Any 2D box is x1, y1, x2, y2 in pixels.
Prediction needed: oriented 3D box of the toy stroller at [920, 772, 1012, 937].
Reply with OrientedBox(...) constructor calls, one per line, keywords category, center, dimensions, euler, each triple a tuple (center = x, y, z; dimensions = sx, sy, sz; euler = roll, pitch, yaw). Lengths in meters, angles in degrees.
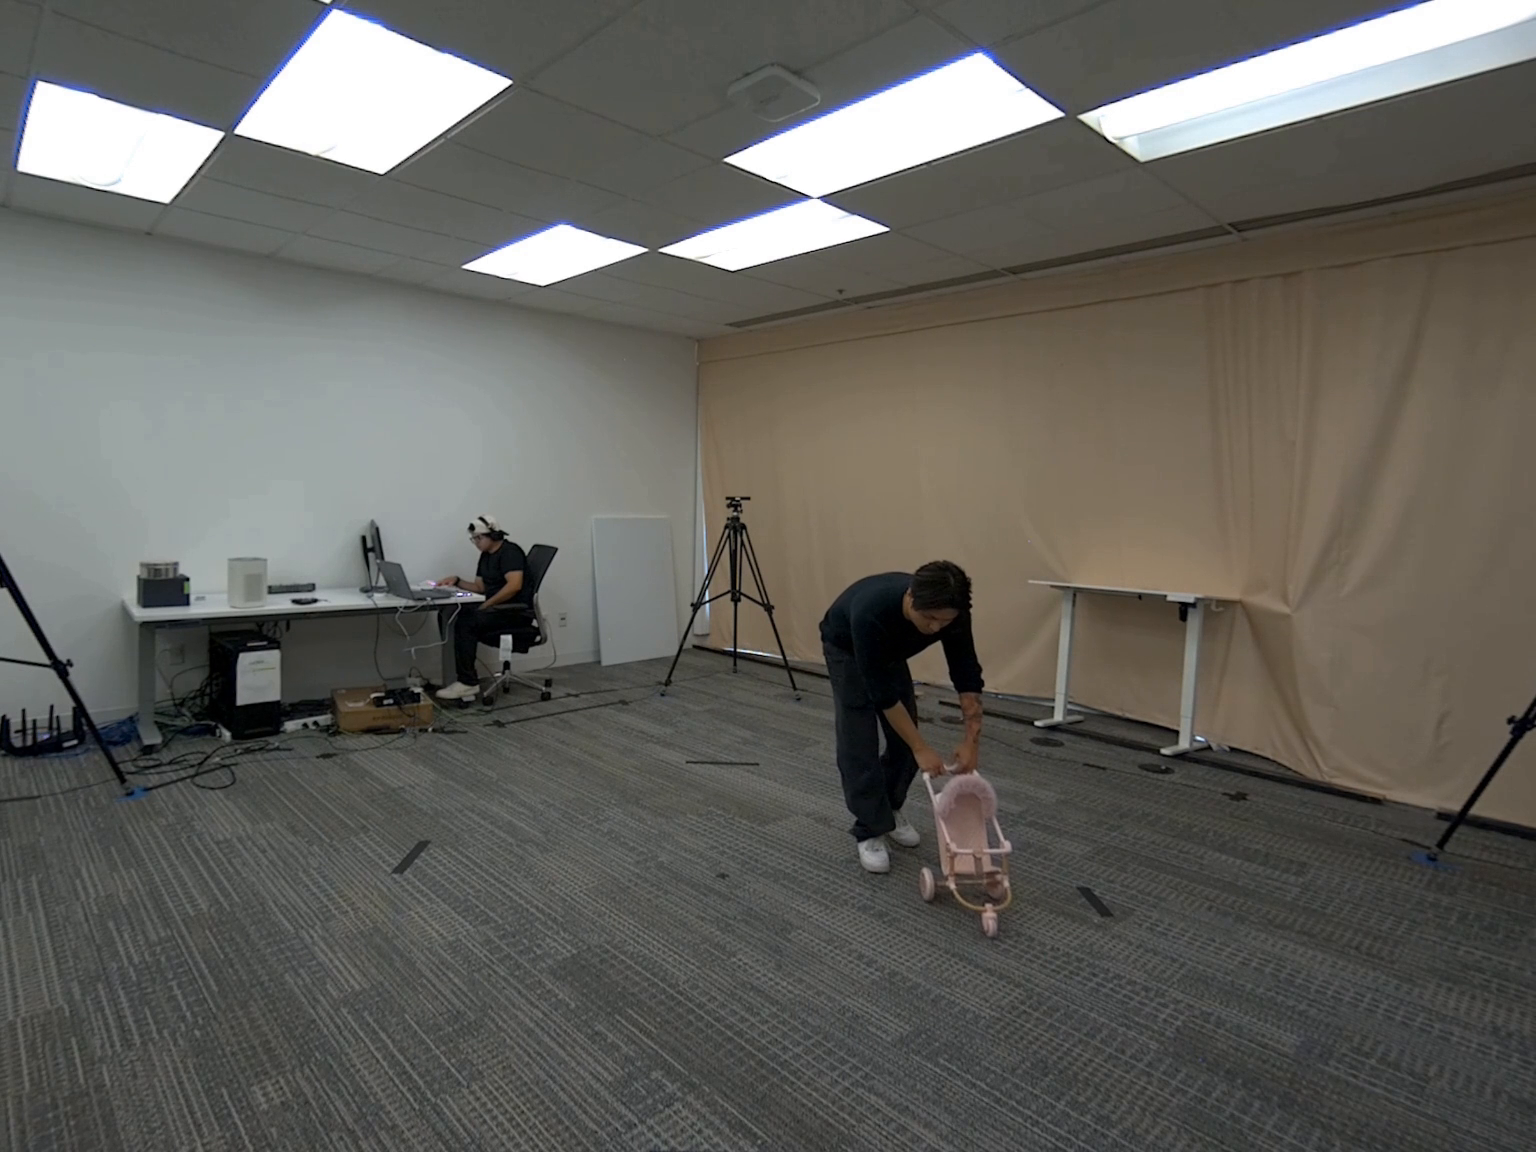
OrientedBox(category="toy stroller", center=(0.681, 0.924, 2.891), dimensions=(0.281, 0.540, 0.339), euler=(0, -12, -3))
